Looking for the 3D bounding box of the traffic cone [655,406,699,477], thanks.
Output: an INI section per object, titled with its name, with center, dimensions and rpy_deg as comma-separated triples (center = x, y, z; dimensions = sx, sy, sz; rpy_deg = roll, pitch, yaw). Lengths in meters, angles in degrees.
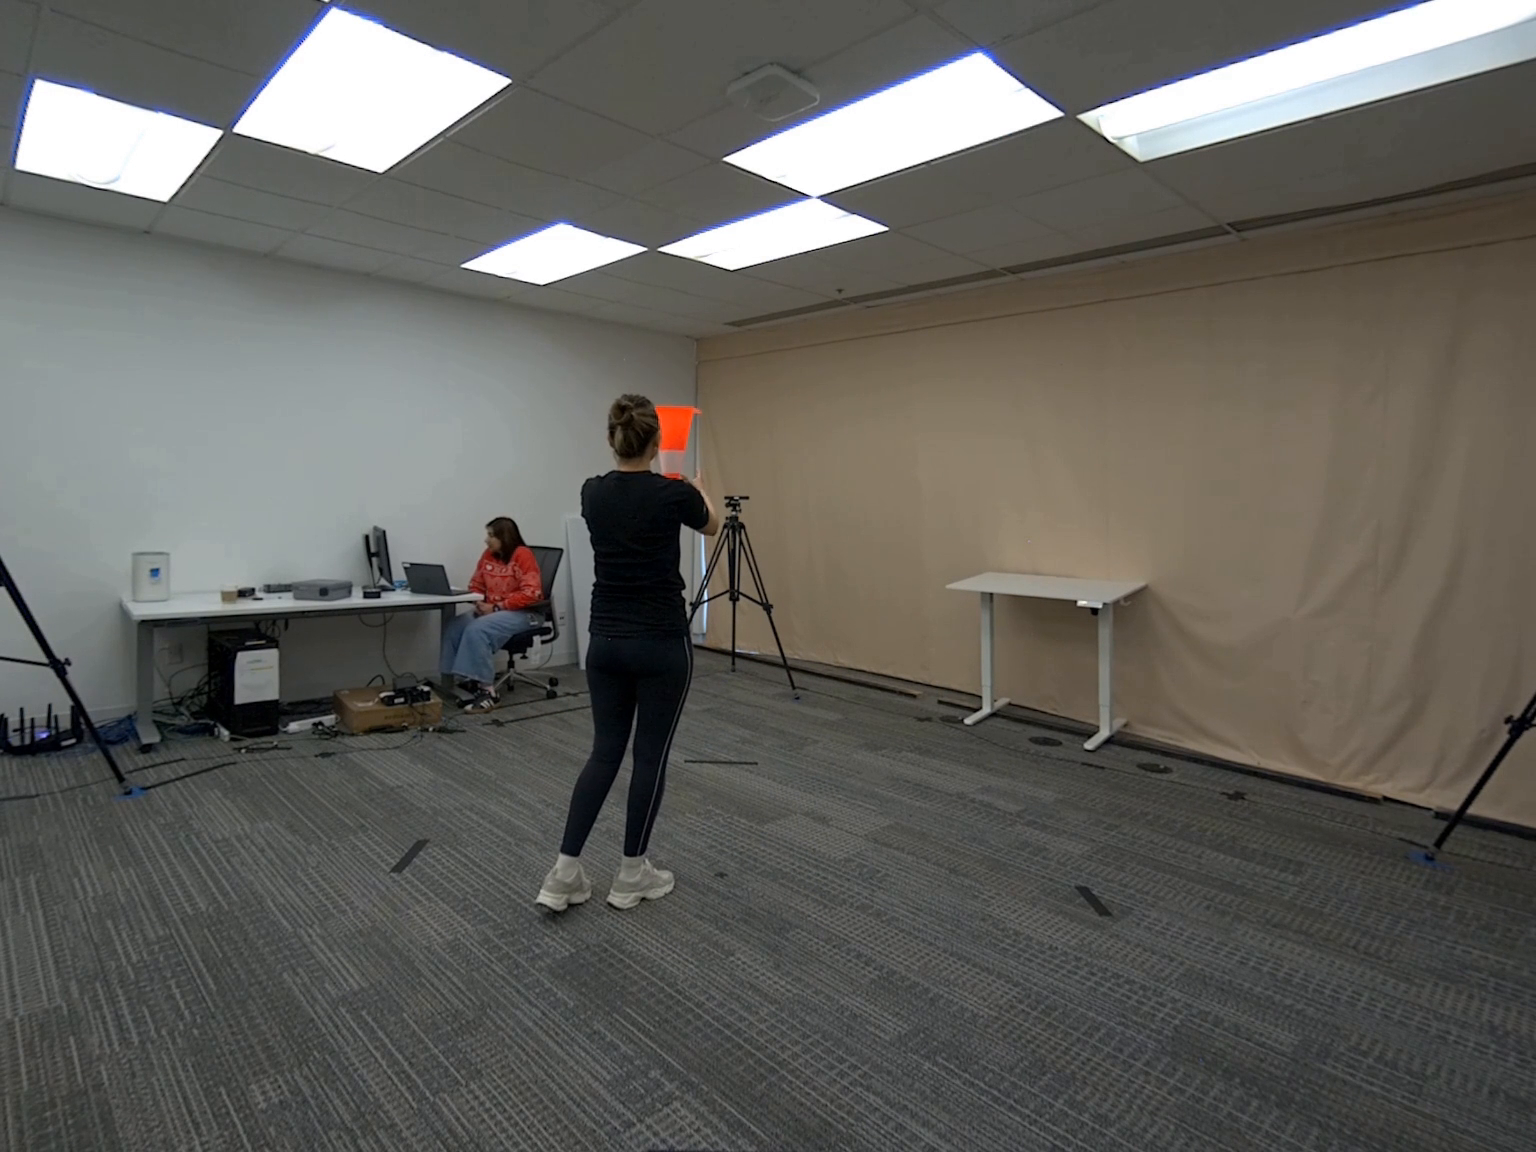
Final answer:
[traffic cone]
center = -0.397, -0.475, 3.353
dimensions = 0.206, 0.383, 0.203
rpy_deg = 3, 3, 6
